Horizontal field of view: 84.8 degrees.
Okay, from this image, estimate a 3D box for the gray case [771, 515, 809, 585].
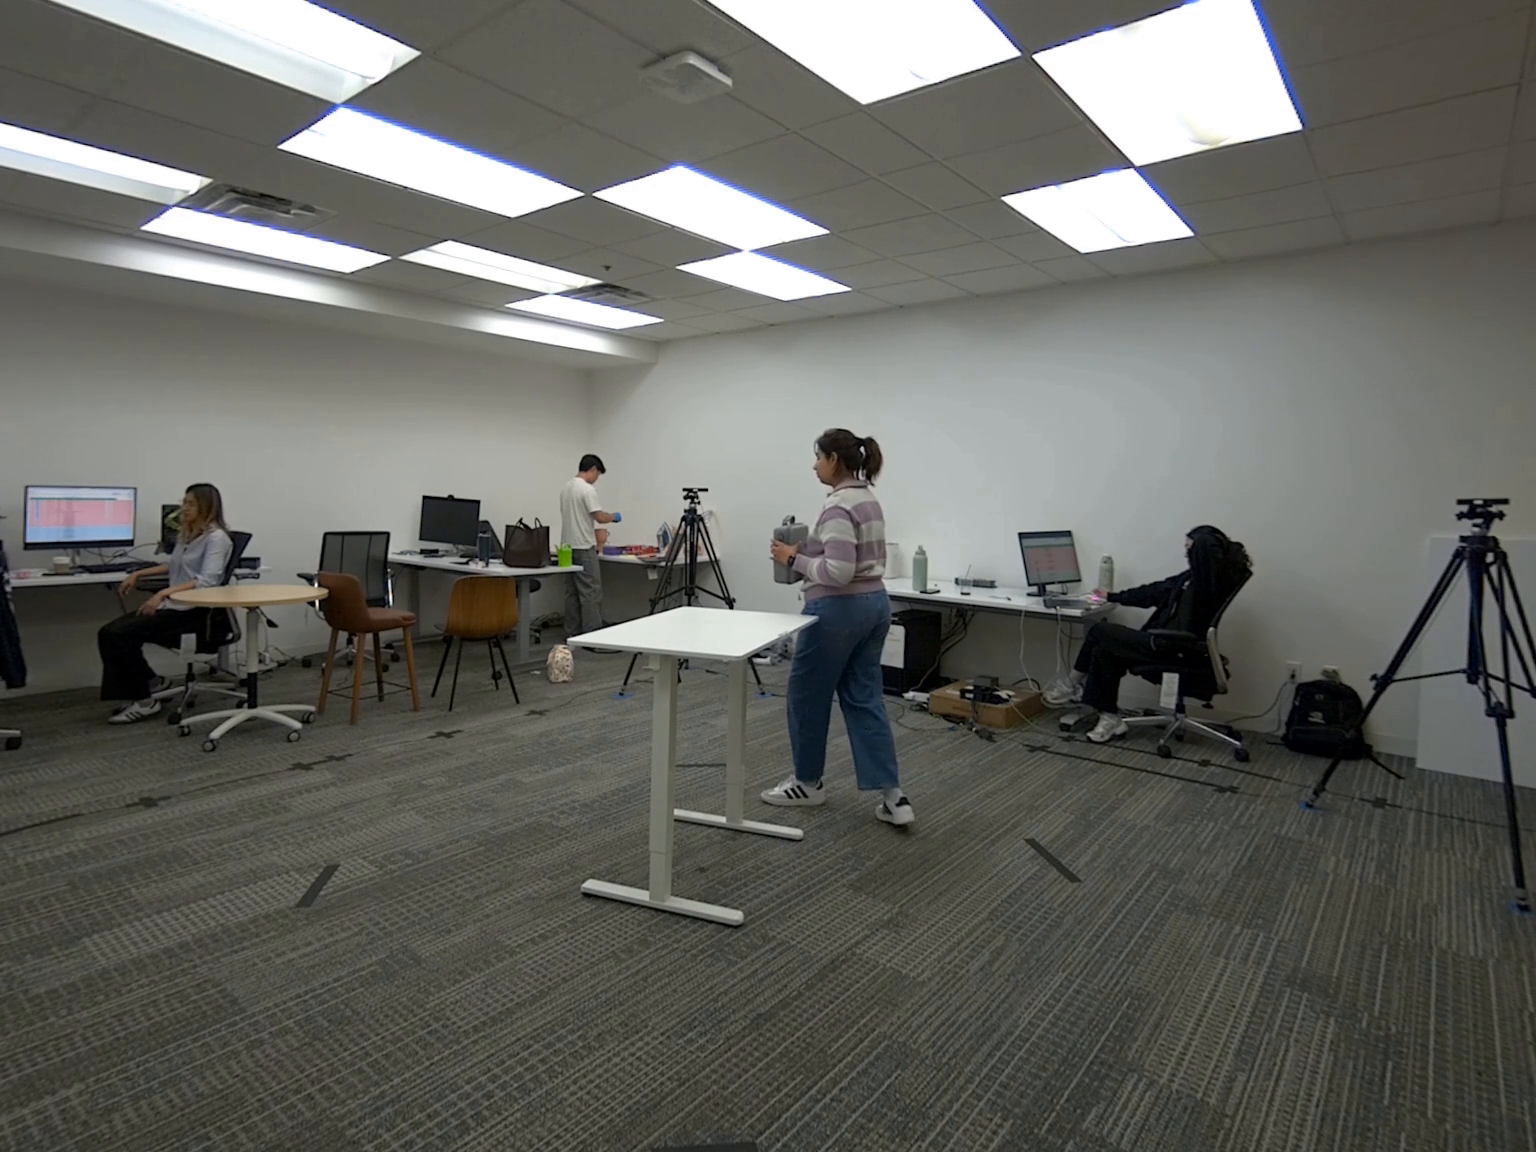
[{"bbox_3d":[0.099,-0.112,3.773,0.106,0.259,0.254,-2,5,14],"label":"gray case"}]
